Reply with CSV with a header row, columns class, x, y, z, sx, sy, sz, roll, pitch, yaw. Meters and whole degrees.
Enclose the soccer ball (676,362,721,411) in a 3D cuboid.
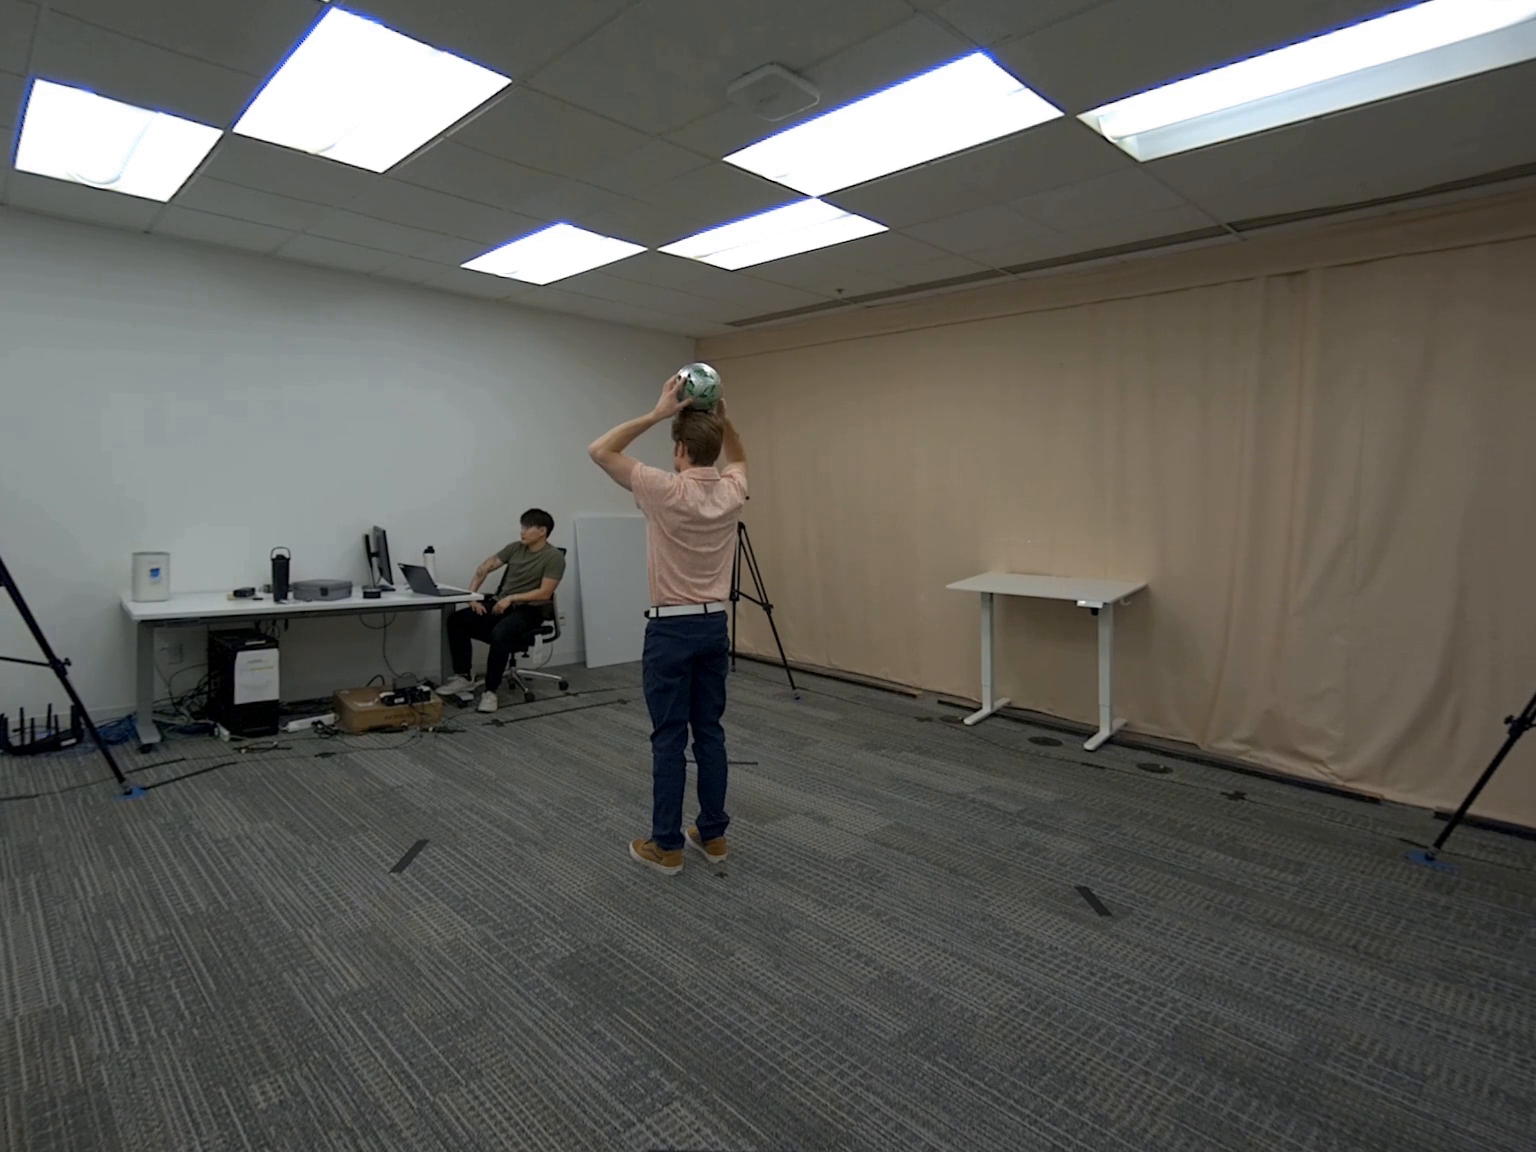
class,x,y,z,sx,sy,sz,roll,pitch,yaw
soccer ball,-0.277,-0.694,3.145,0.187,0.187,0.188,1,4,-1
